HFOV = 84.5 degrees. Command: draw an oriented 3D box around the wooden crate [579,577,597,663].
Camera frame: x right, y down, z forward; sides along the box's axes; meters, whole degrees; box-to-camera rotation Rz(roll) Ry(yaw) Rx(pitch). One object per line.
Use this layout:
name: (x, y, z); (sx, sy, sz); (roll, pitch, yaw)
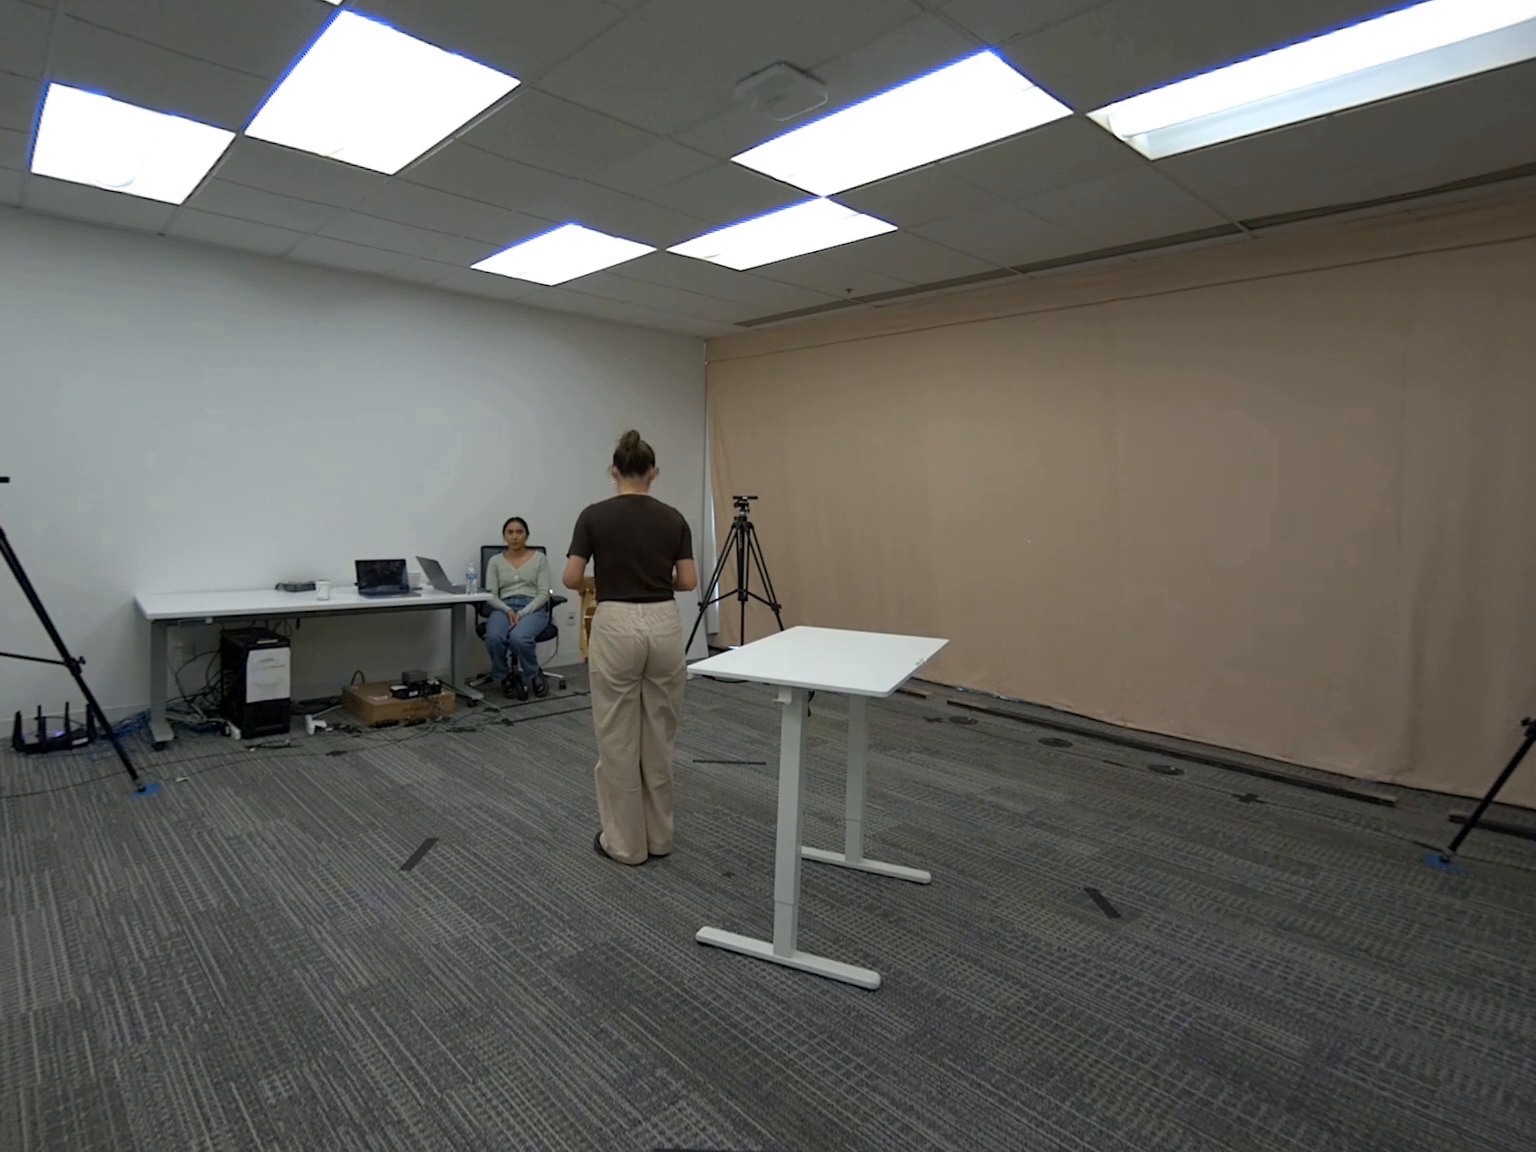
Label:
wooden crate: (-0.605, 0.180, 3.448); (0.320, 0.270, 0.310); (3, 23, -16)
